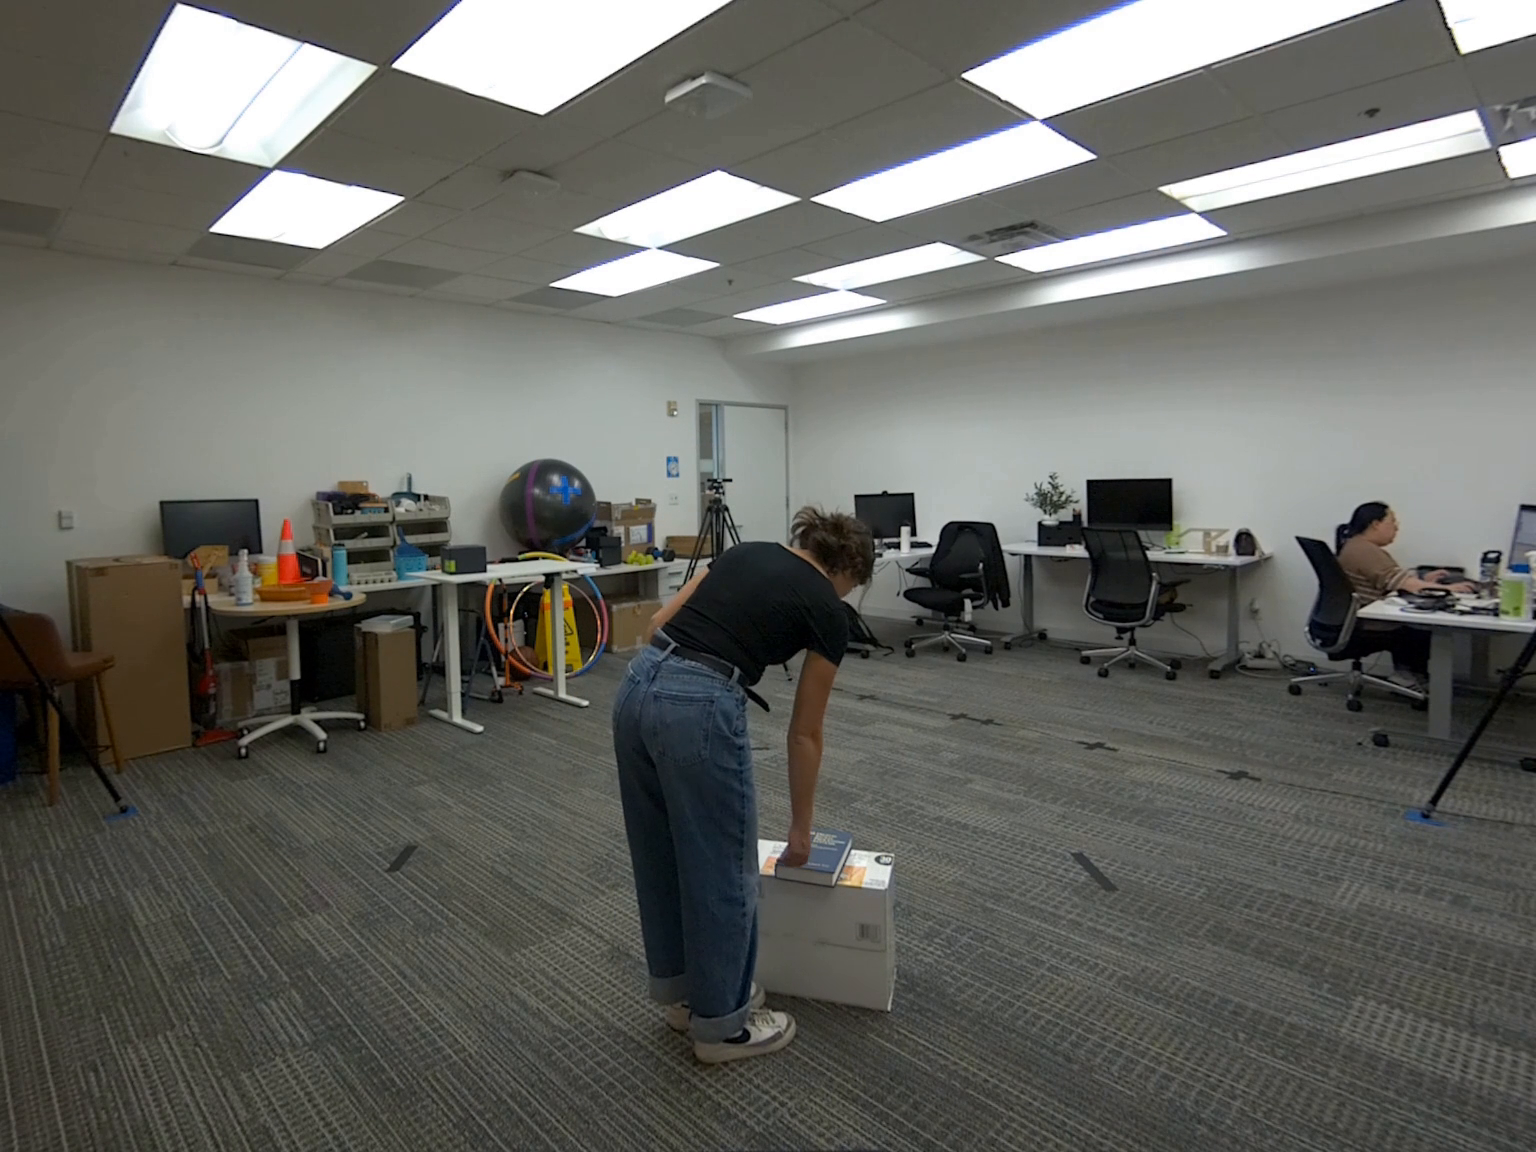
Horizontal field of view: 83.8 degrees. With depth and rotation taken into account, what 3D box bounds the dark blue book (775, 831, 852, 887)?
[{"bbox_3d":[0.136,0.770,2.356,0.166,0.045,0.242,1,8,17],"label":"dark blue book"}]
